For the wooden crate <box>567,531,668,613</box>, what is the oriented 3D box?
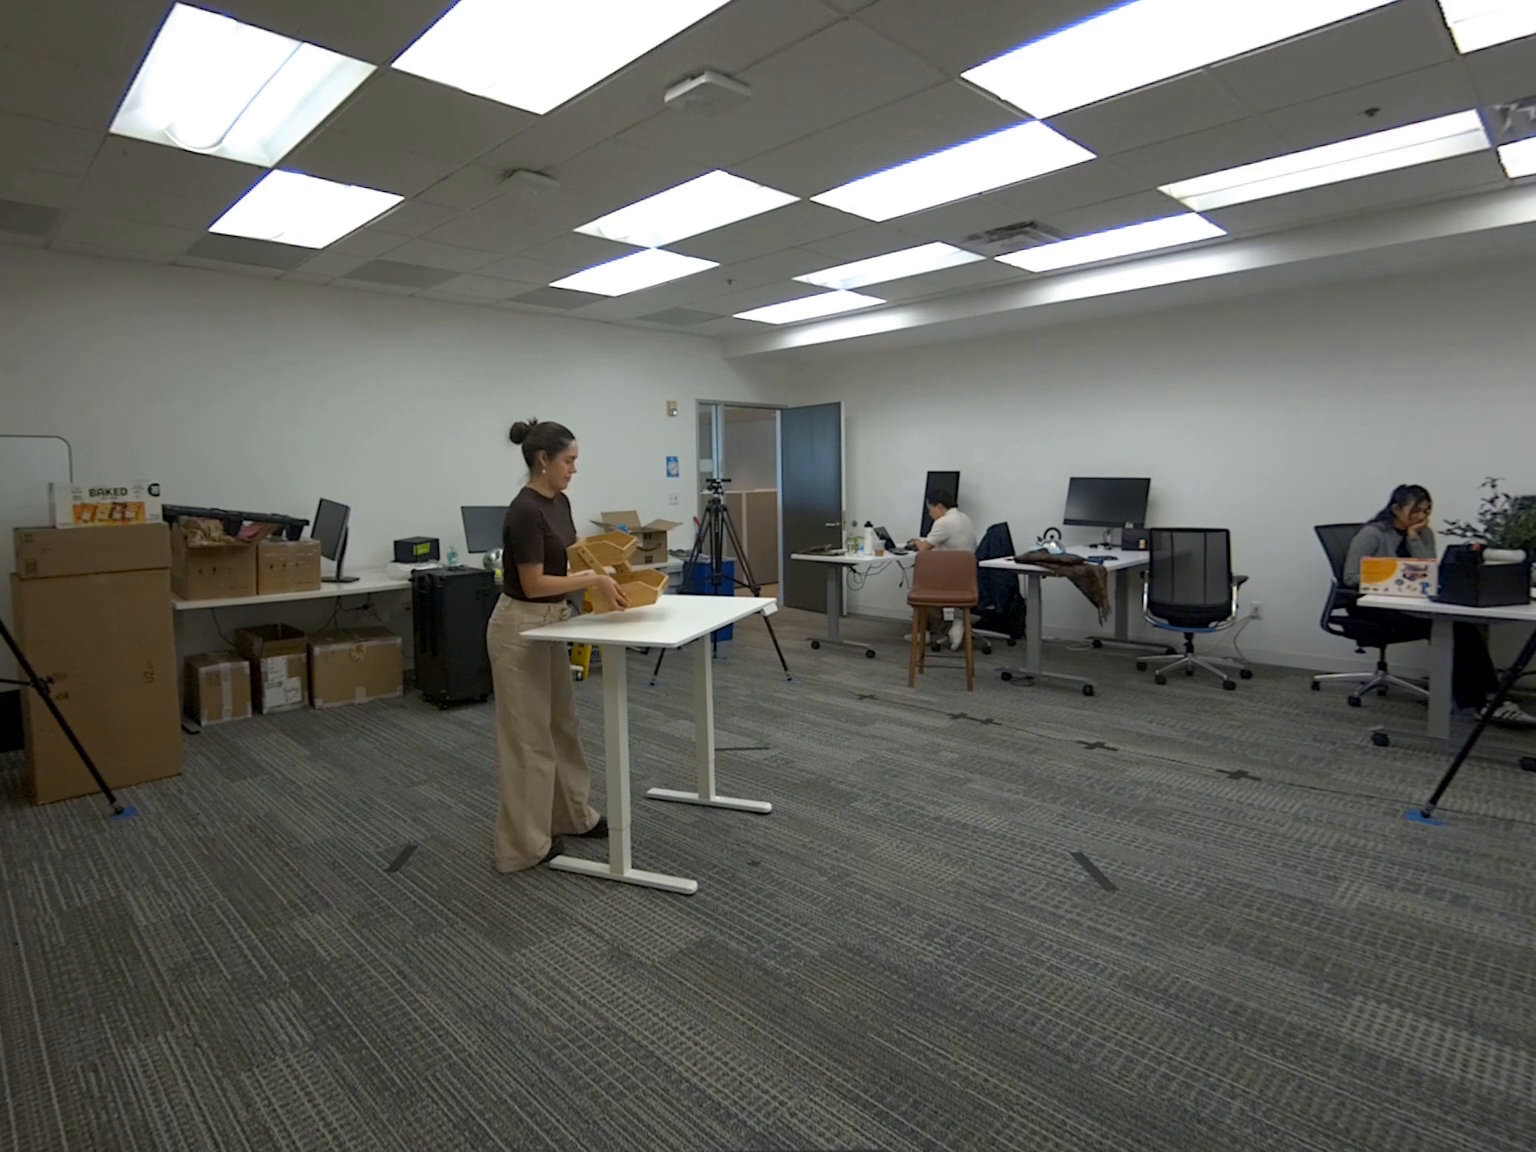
[{"bbox_3d":[-0.578,-0.028,3.258,0.303,0.271,0.326,-11,9,4],"label":"wooden crate"}]
